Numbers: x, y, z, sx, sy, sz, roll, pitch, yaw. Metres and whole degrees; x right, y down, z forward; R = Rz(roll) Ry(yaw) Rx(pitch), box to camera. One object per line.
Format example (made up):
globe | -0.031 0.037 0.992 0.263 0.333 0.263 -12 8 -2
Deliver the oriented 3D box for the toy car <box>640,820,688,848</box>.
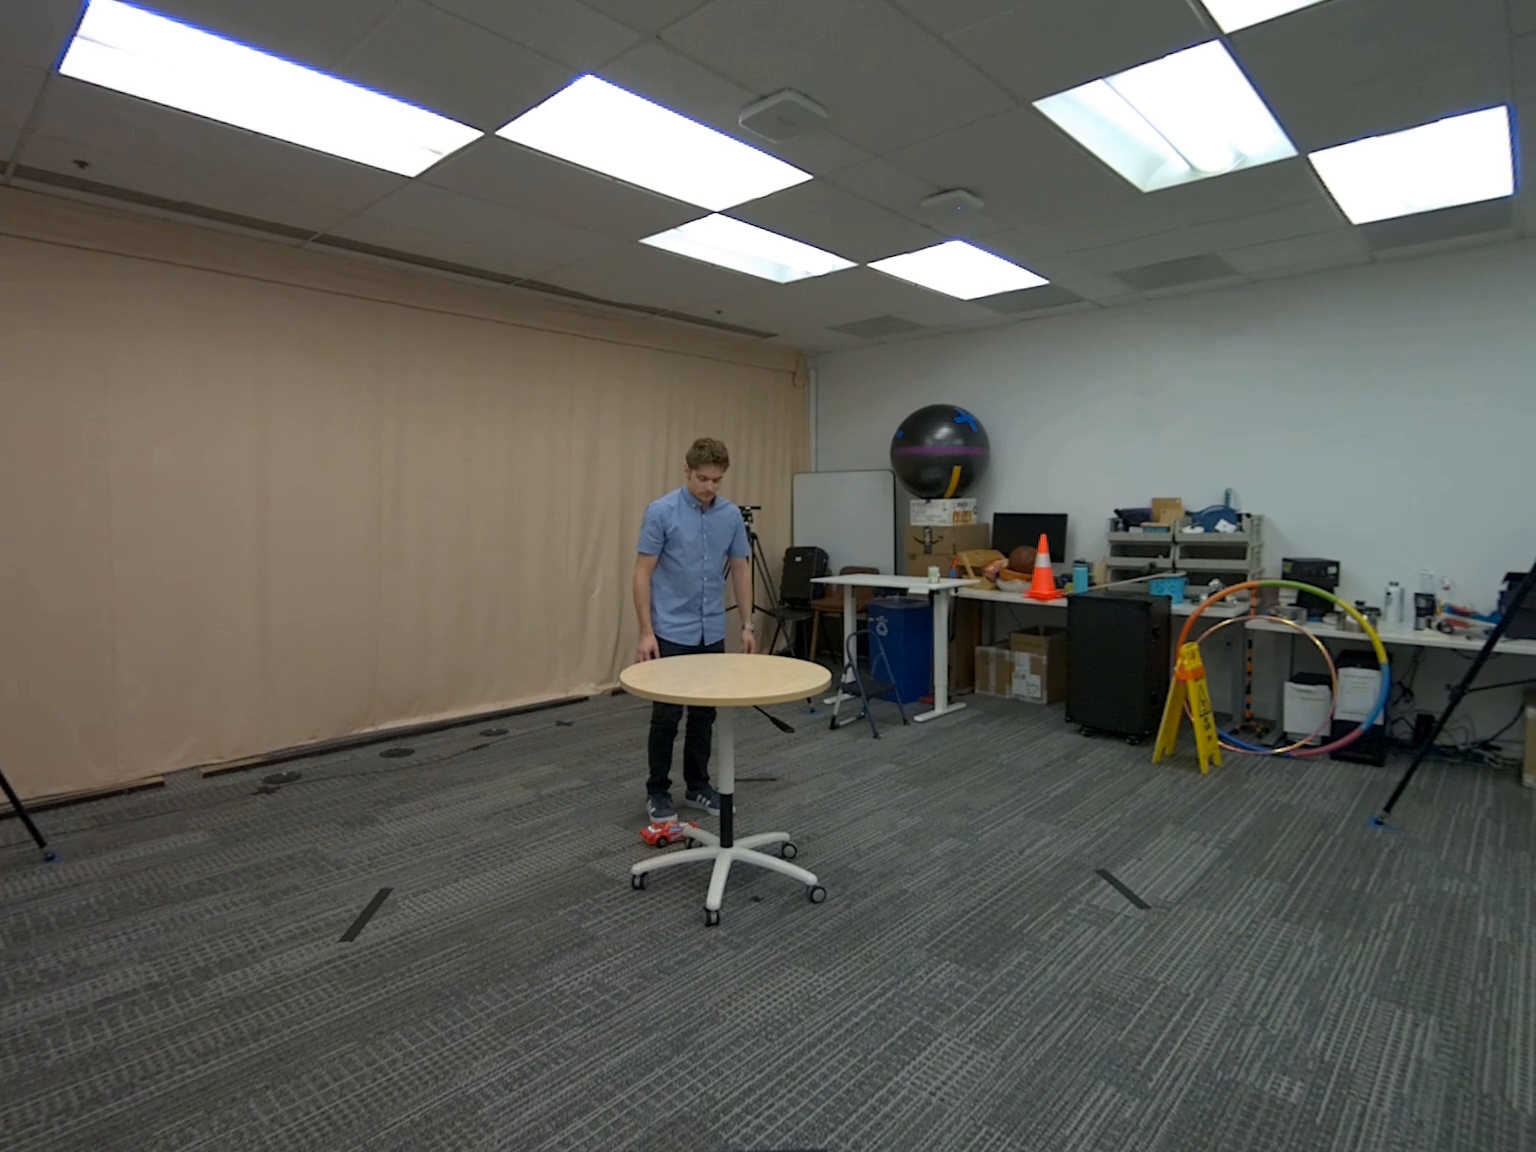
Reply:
toy car | -0.421 1.071 3.510 0.247 0.083 0.134 10 -2 -28
